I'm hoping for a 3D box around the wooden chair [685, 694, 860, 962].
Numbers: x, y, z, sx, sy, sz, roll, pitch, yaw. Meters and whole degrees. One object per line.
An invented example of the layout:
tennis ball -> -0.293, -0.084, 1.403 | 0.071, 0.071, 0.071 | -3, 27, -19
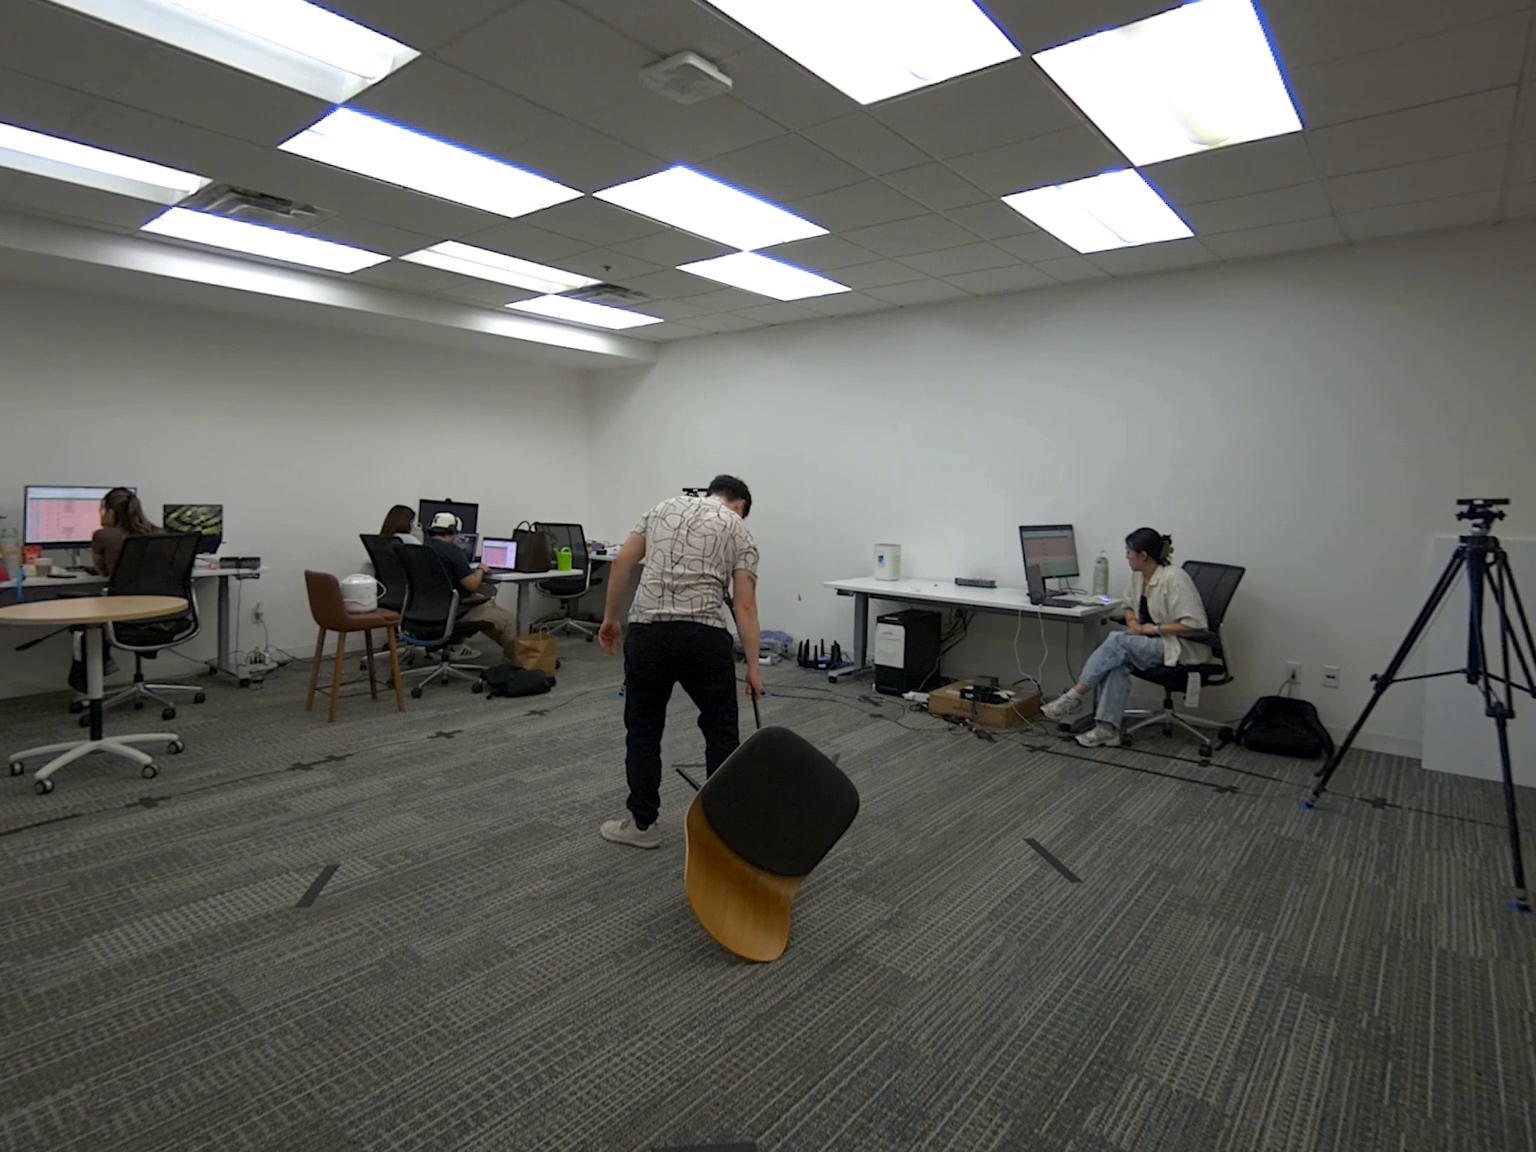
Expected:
wooden chair -> 0.007, 0.784, 2.867 | 0.473, 0.523, 0.887 | 41, 7, -9
